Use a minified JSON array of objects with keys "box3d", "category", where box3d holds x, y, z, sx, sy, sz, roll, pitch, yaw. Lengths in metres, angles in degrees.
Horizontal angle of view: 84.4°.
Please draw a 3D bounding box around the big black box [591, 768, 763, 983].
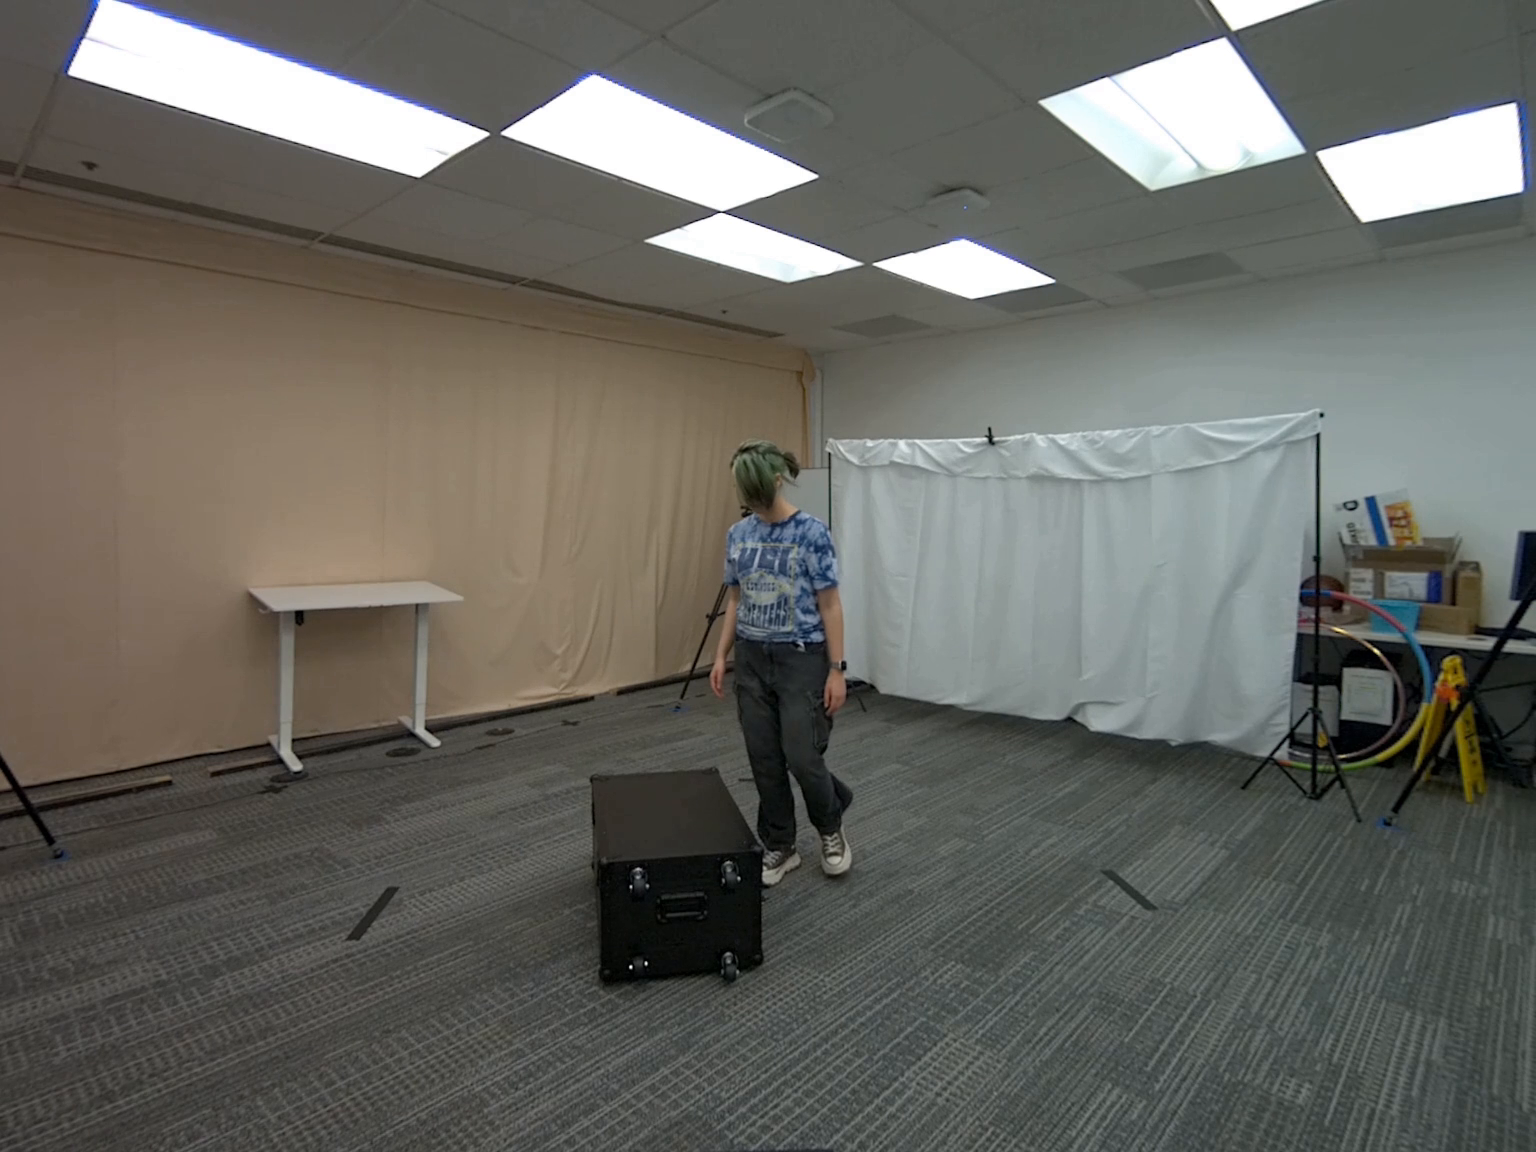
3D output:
[{"box3d":[-0.345,0.962,2.870,0.515,0.395,0.874,-1,5,-13],"category":"big black box"}]
